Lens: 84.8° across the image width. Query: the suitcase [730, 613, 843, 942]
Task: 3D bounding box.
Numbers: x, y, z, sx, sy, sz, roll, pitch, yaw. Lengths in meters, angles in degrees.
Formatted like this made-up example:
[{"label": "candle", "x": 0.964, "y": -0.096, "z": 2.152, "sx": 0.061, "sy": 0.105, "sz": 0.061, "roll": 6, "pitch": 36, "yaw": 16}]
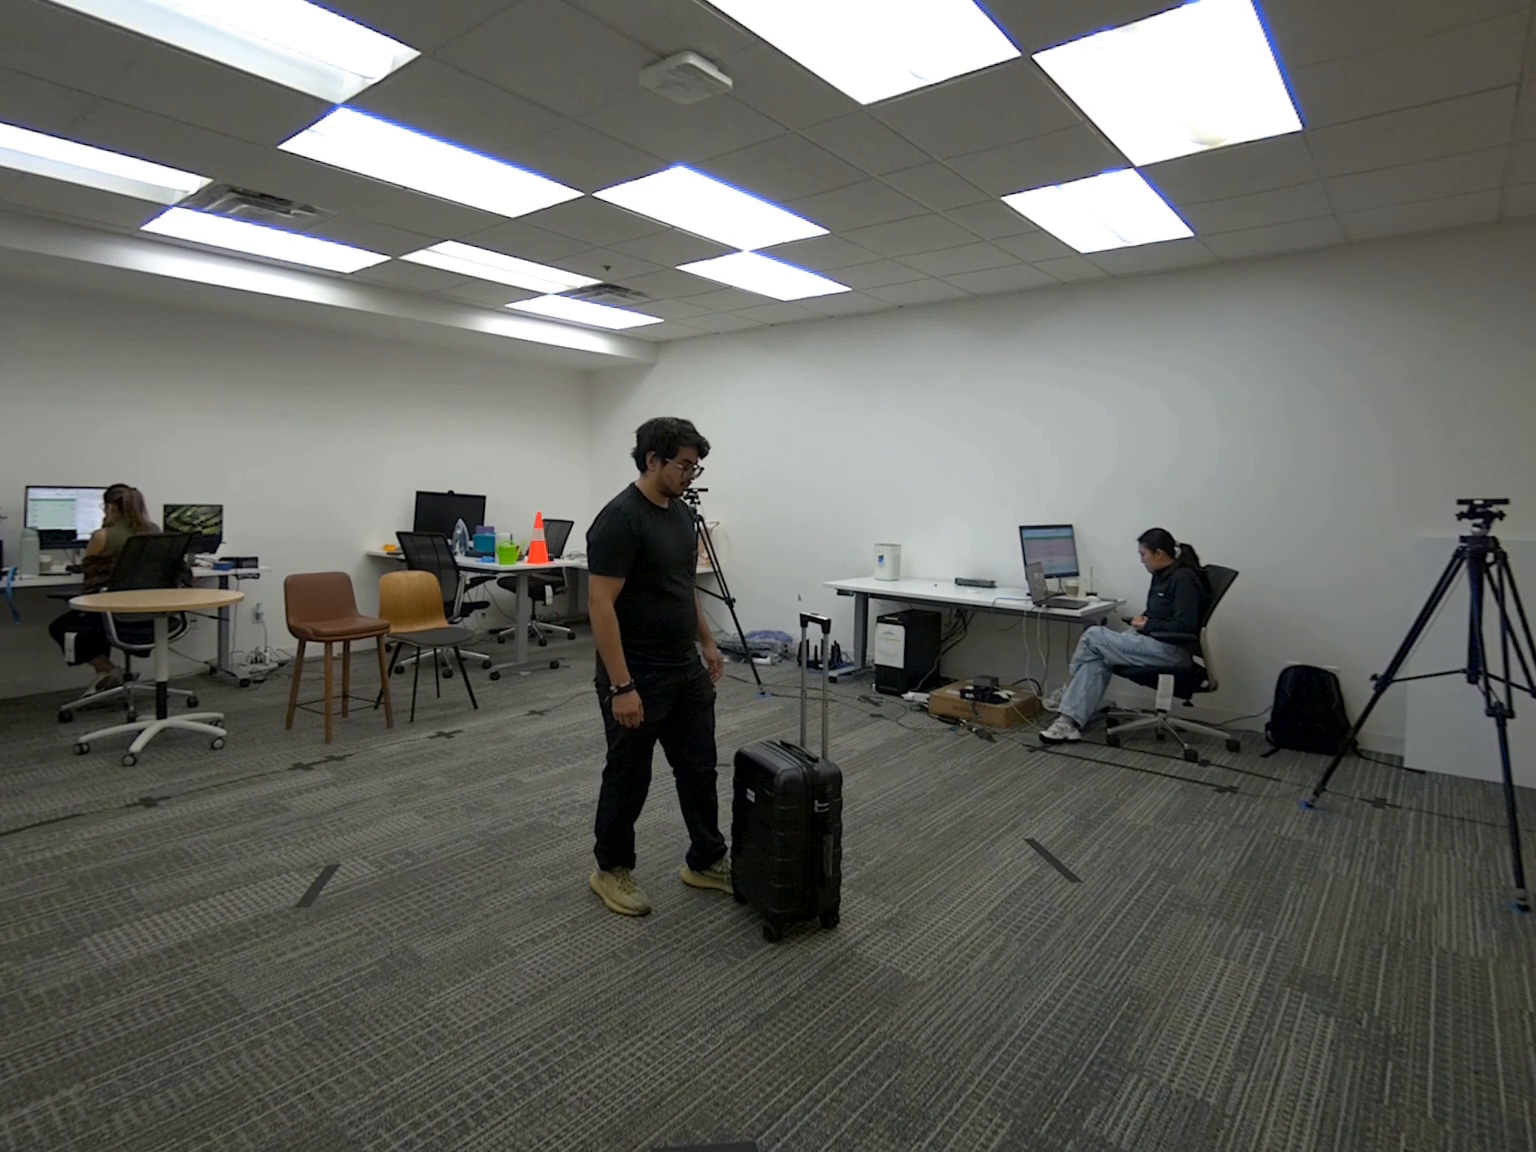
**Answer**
[{"label": "suitcase", "x": 0.059, "y": 0.630, "z": 2.758, "sx": 0.251, "sy": 0.975, "sz": 0.394, "roll": -1, "pitch": 4, "yaw": -25}]
